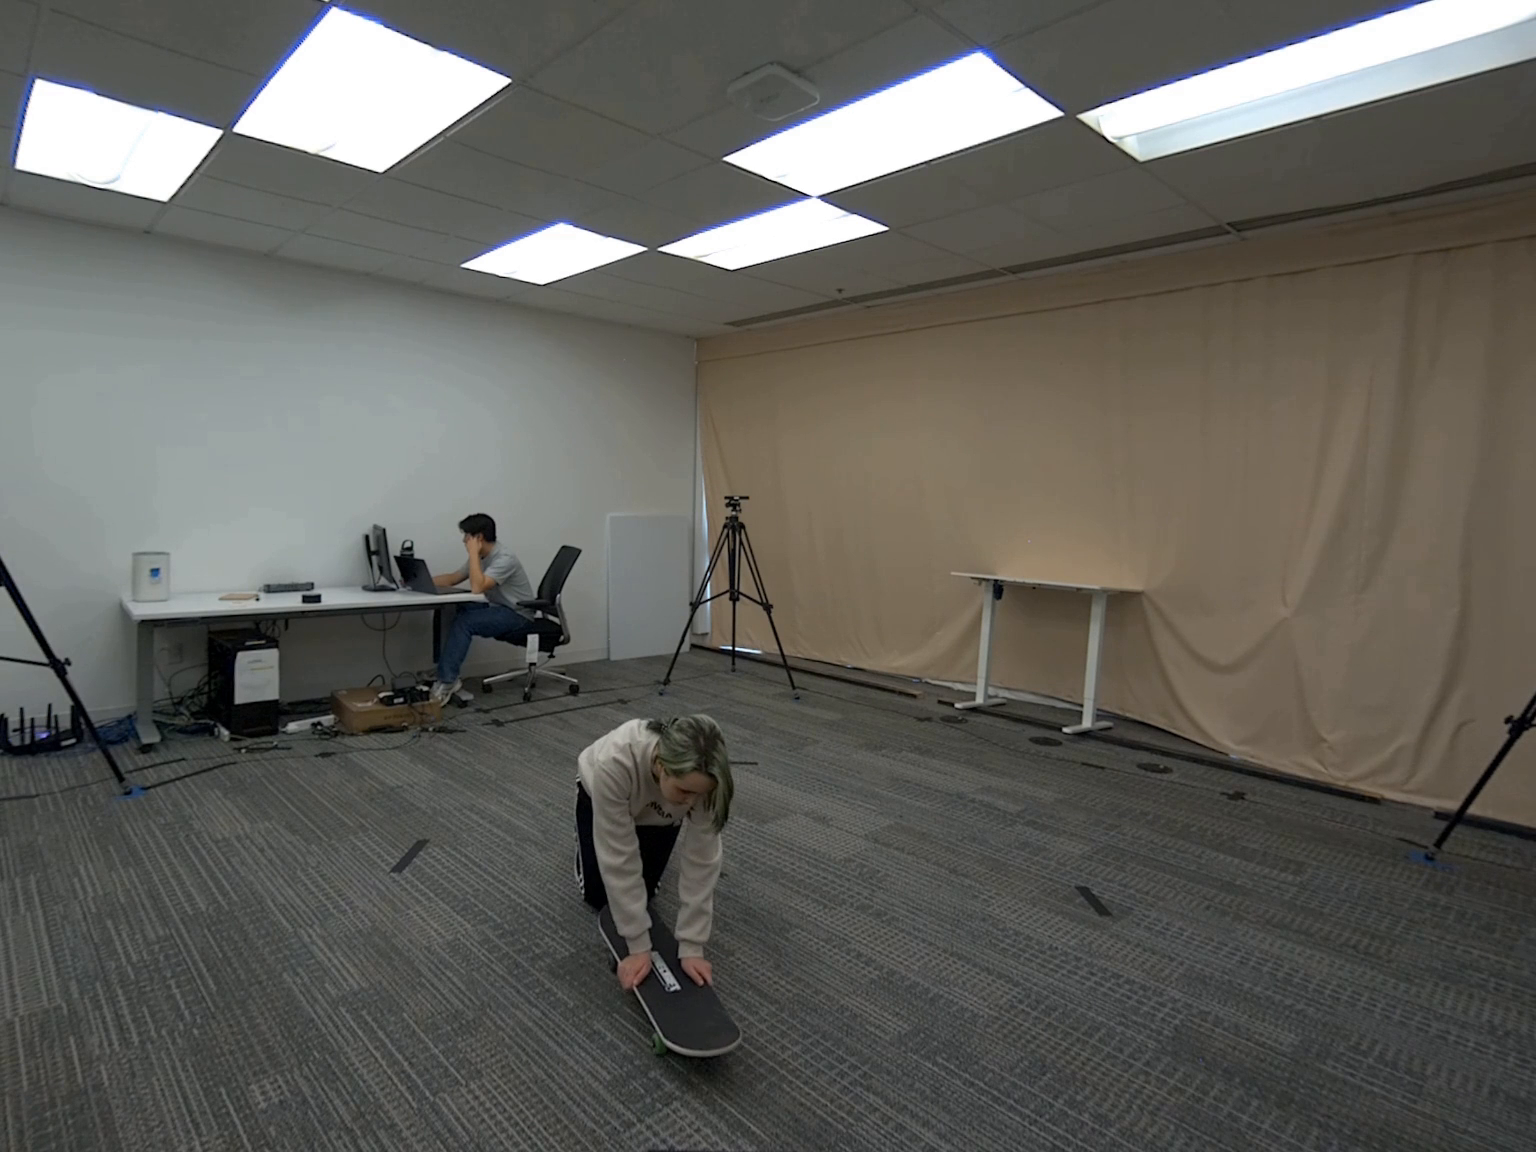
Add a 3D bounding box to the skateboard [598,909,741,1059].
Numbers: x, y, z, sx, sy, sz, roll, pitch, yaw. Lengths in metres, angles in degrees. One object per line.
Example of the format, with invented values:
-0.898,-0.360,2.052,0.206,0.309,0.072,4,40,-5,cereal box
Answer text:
-0.301,1.121,2.317,0.190,0.110,0.802,0,5,-25,skateboard
